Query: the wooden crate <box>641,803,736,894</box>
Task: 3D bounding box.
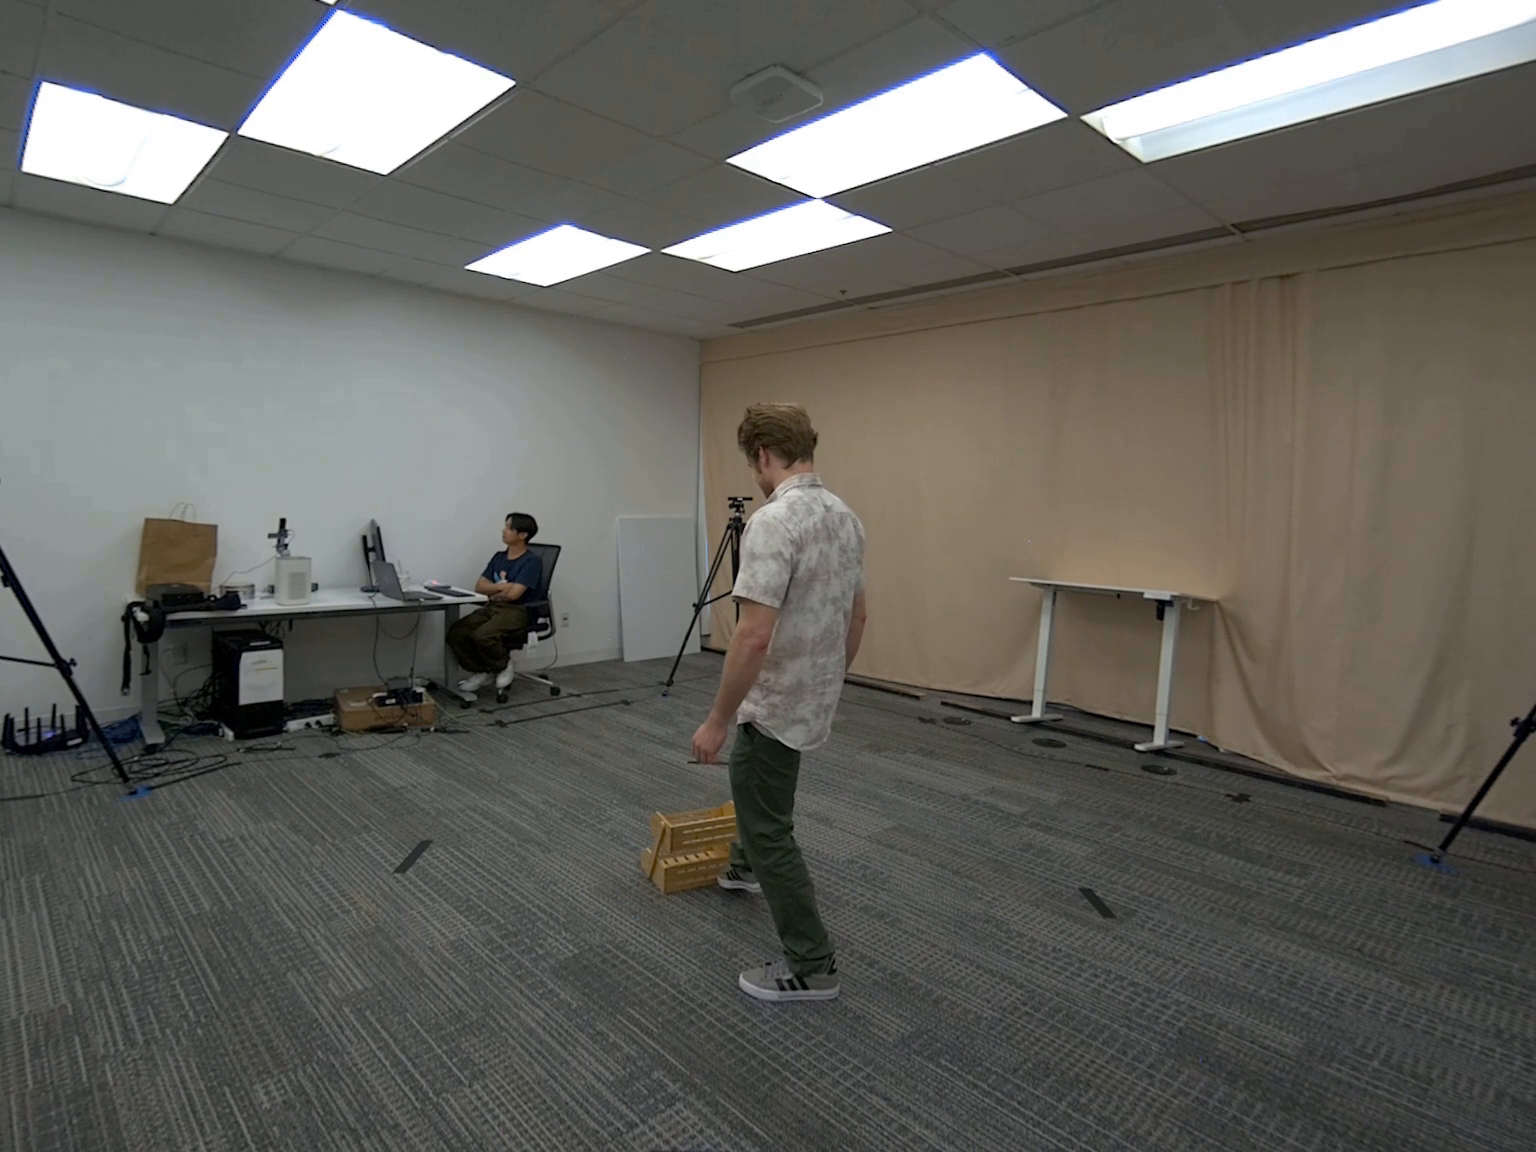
[{"bbox_3d":[-0.288,0.972,3.100,0.318,0.272,0.309,-1,5,-28],"label":"wooden crate"}]
